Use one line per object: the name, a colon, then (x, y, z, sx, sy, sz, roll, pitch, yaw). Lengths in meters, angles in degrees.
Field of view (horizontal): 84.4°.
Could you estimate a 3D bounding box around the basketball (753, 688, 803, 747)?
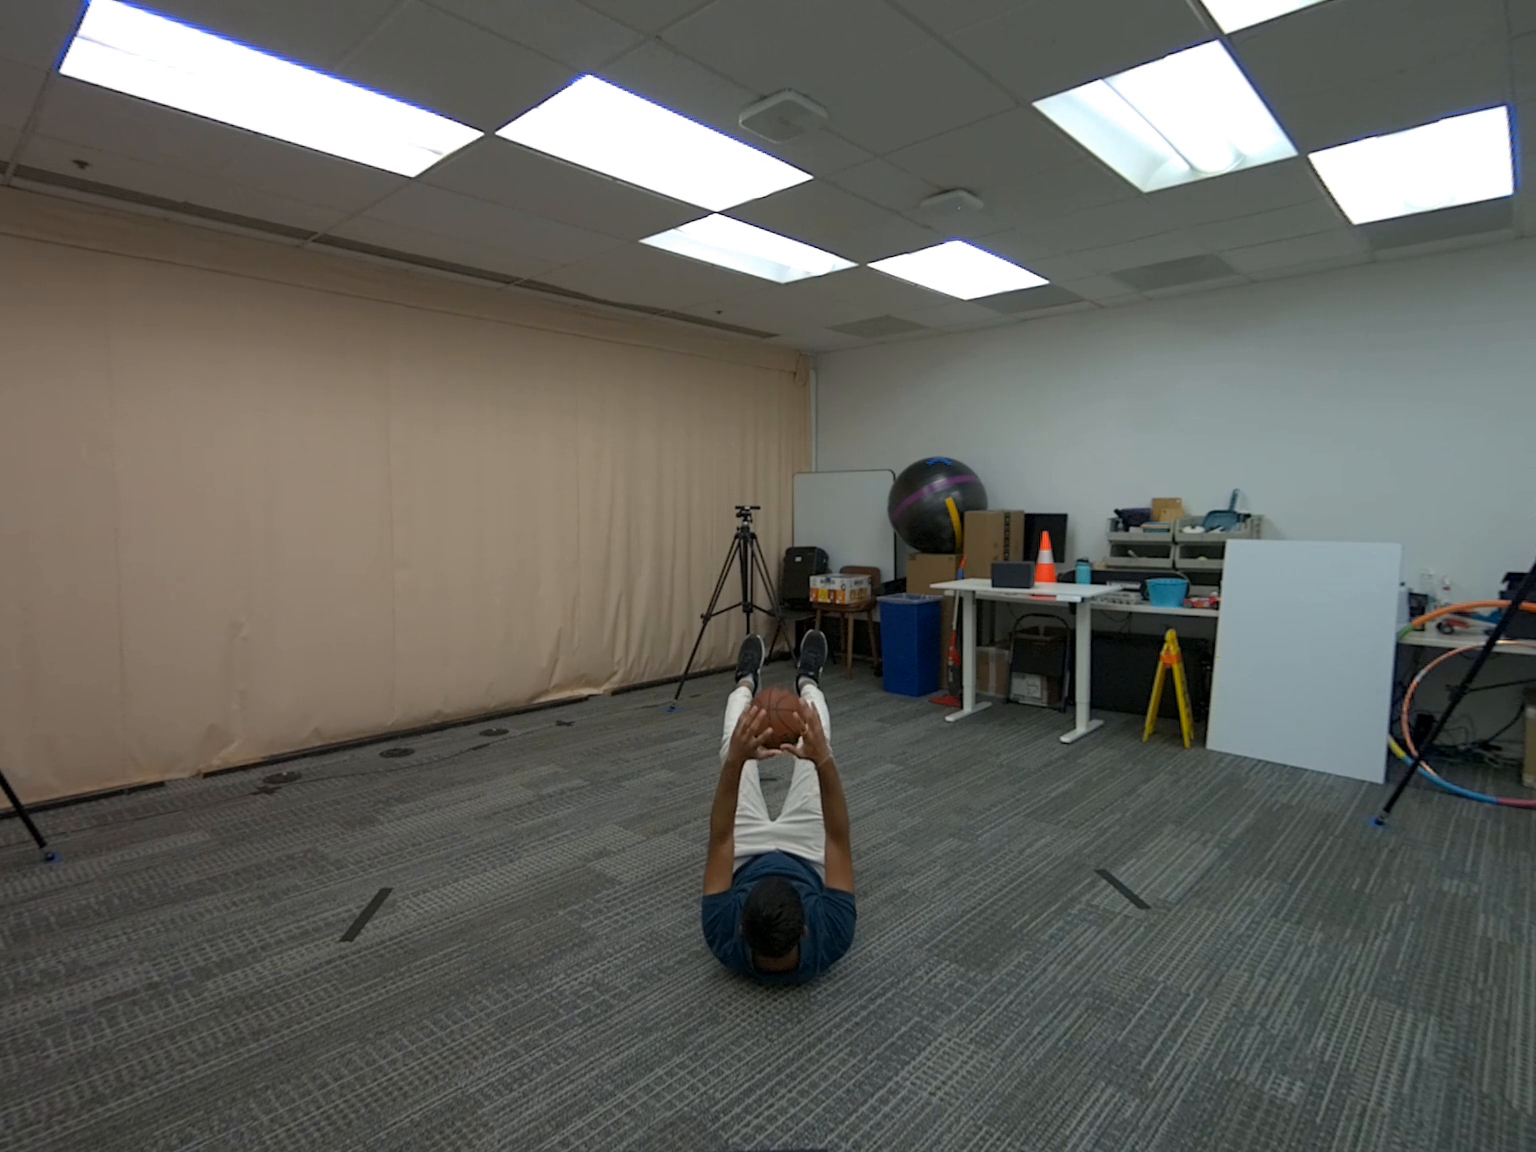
basketball: (0.032, 0.545, 3.249, 0.236, 0.235, 0.237, 0, 4, -2)
